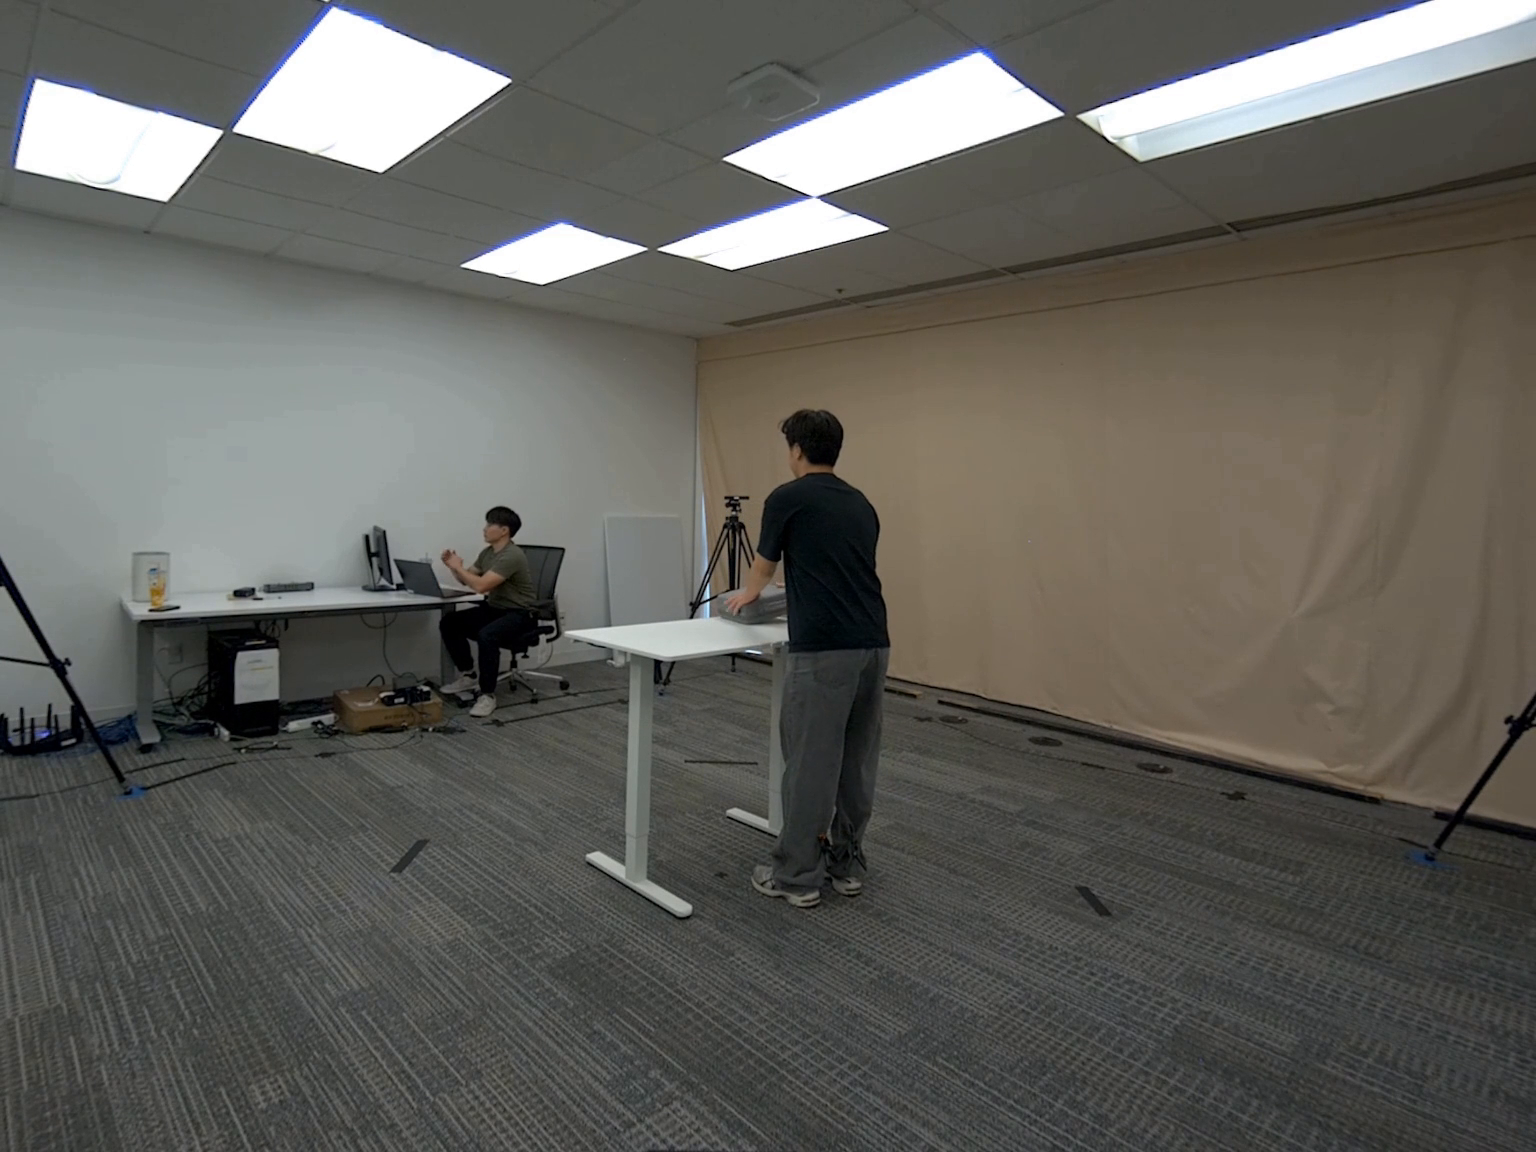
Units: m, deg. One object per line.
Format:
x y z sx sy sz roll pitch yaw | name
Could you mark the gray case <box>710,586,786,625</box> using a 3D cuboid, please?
-0.067 0.117 3.540 0.252 0.103 0.267 -12 12 -32 | gray case
